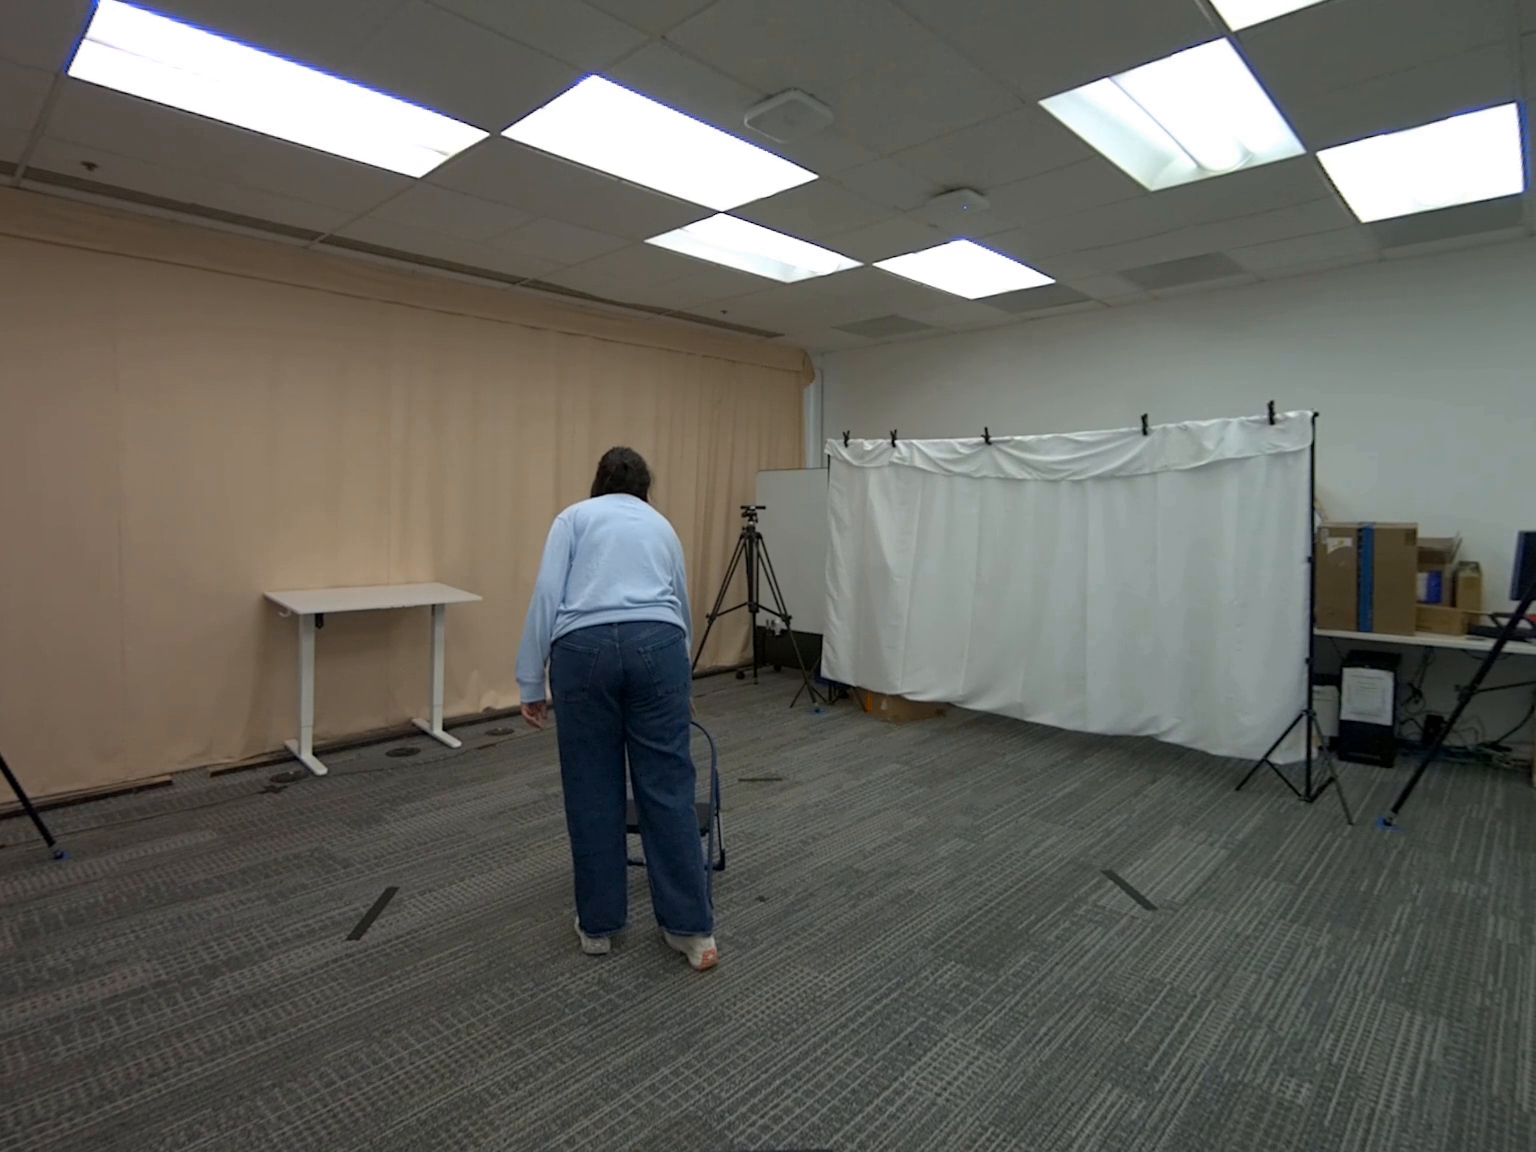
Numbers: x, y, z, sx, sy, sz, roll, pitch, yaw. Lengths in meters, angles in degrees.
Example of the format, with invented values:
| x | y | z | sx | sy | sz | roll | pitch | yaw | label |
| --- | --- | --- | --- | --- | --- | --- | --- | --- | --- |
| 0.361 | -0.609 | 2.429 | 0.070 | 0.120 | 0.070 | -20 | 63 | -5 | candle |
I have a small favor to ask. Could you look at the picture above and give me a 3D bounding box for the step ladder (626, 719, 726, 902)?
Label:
| x | y | z | sx | sy | sz | roll | pitch | yaw | label |
| --- | --- | --- | --- | --- | --- | --- | --- | --- | --- |
| -0.388 | 0.838 | 3.085 | 0.435 | 0.604 | 0.347 | 1 | 4 | 9 | step ladder |
